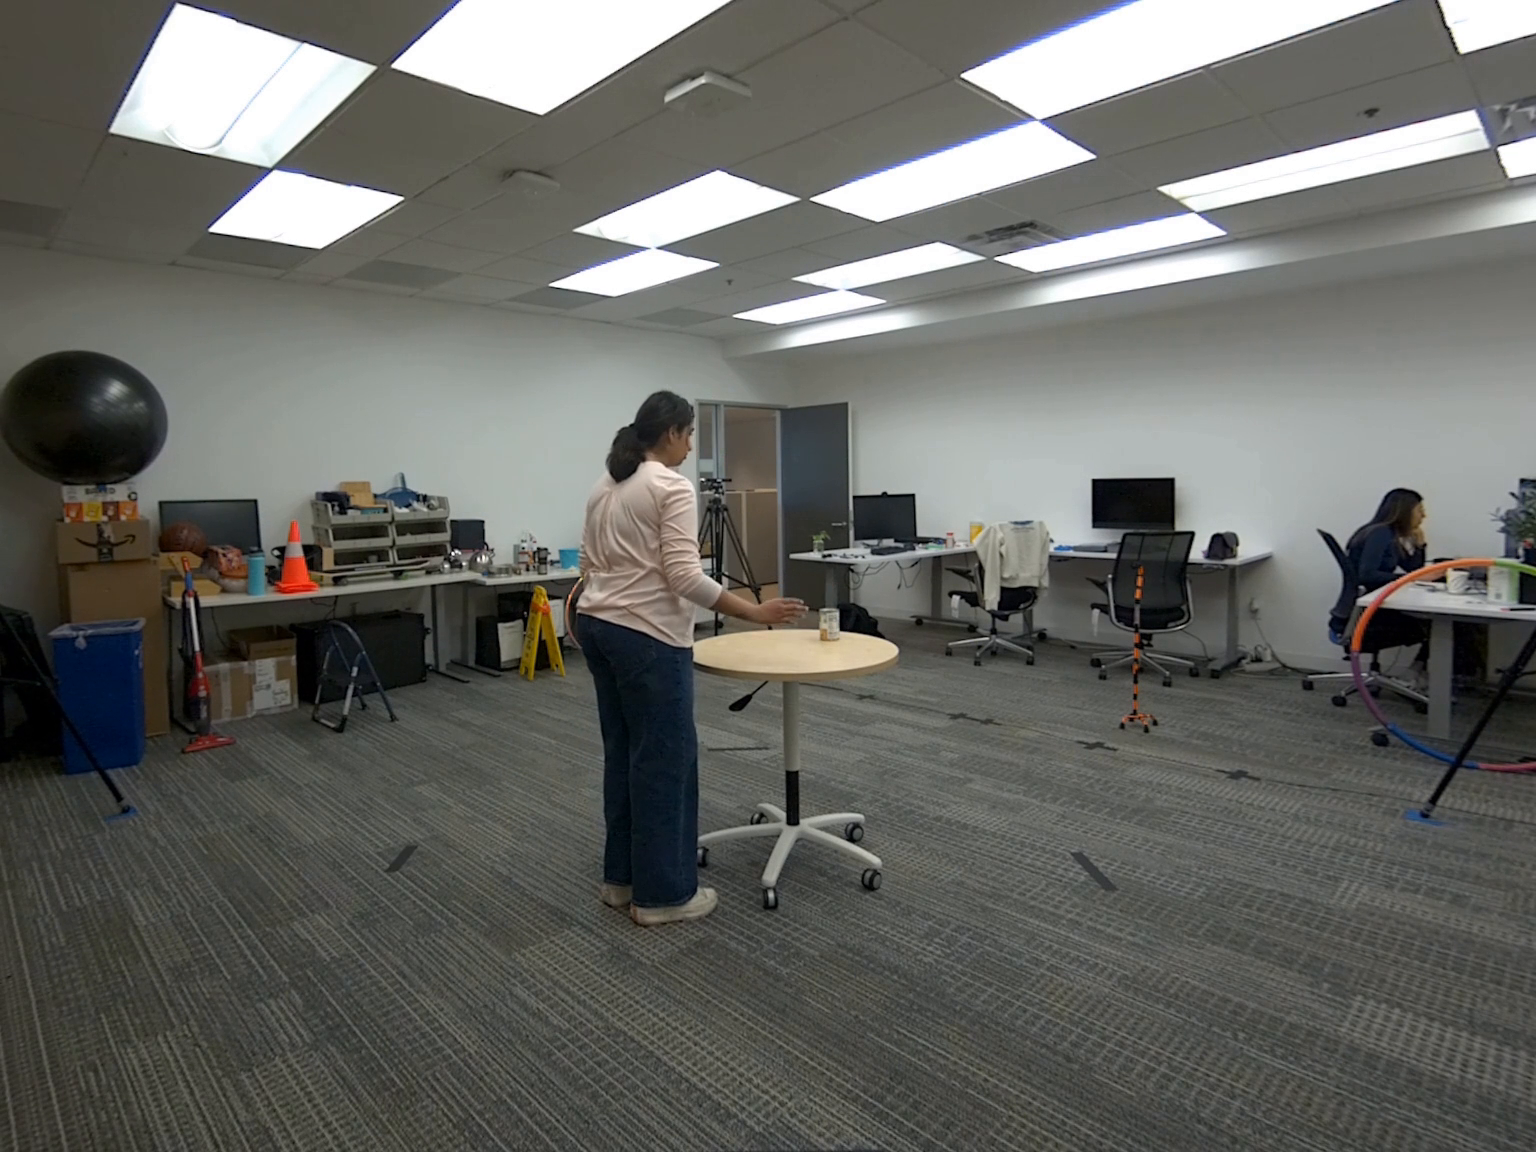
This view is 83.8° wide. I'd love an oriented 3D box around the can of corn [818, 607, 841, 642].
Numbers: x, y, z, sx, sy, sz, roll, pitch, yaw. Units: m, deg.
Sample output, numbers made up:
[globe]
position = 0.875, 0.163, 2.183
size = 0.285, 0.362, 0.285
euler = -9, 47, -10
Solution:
[can of corn]
position = 0.236, 0.184, 3.226
size = 0.074, 0.110, 0.075
euler = 0, 6, -2
